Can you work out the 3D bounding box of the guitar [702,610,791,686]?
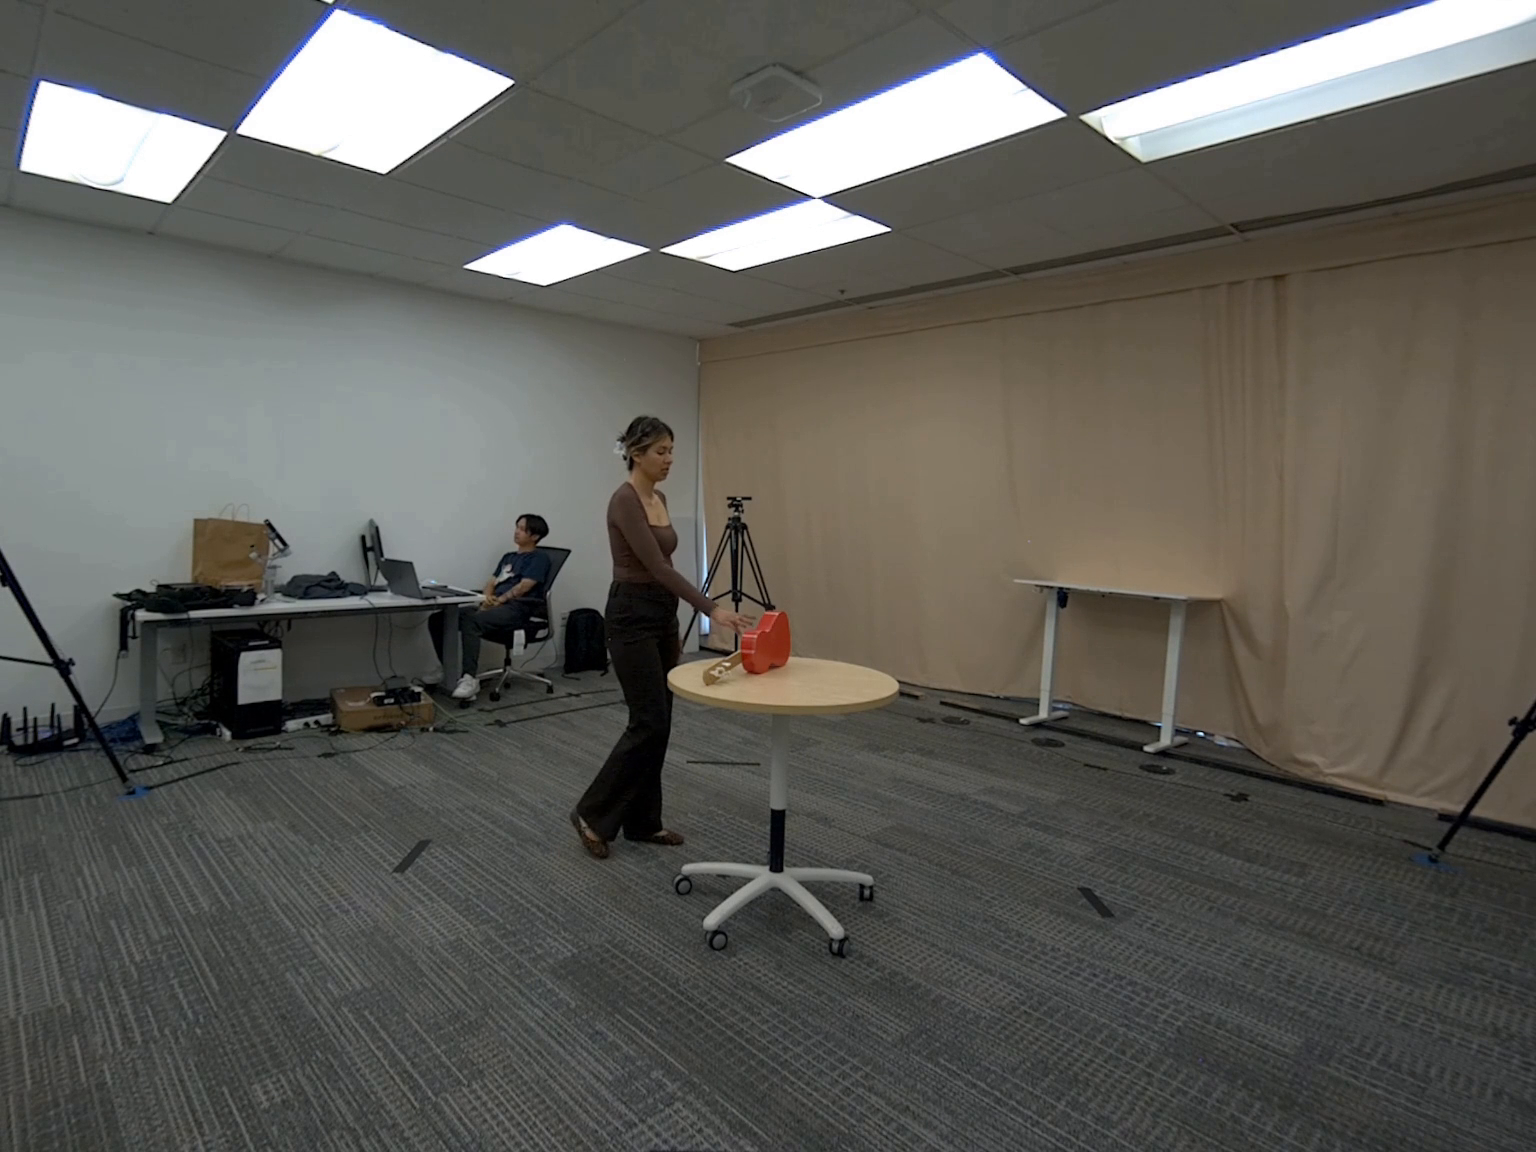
[{"bbox_3d":[-0.063,0.293,2.846,0.072,0.190,0.495,3,23,27],"label":"guitar"}]
